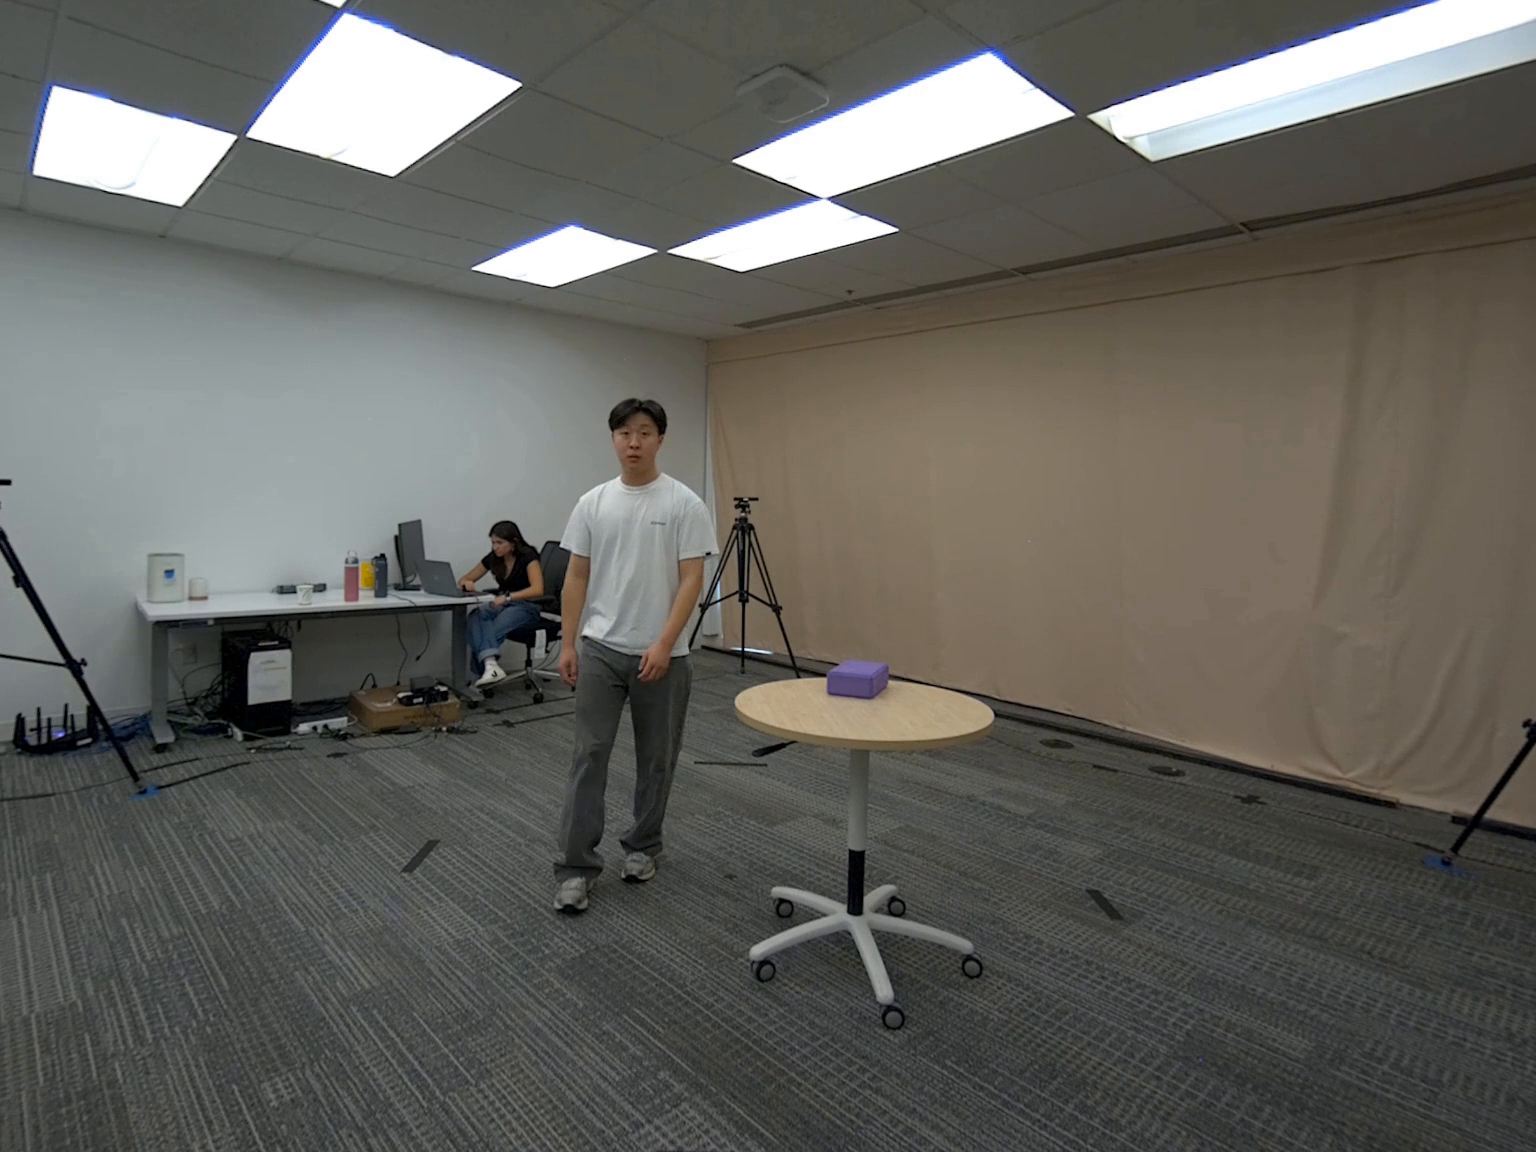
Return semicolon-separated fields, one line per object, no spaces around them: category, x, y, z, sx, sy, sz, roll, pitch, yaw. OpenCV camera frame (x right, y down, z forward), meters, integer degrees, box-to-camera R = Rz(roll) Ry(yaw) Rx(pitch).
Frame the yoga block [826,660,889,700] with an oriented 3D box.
yoga block;0.292;0.336;2.712;0.151;0.076;0.226;3;6;21
